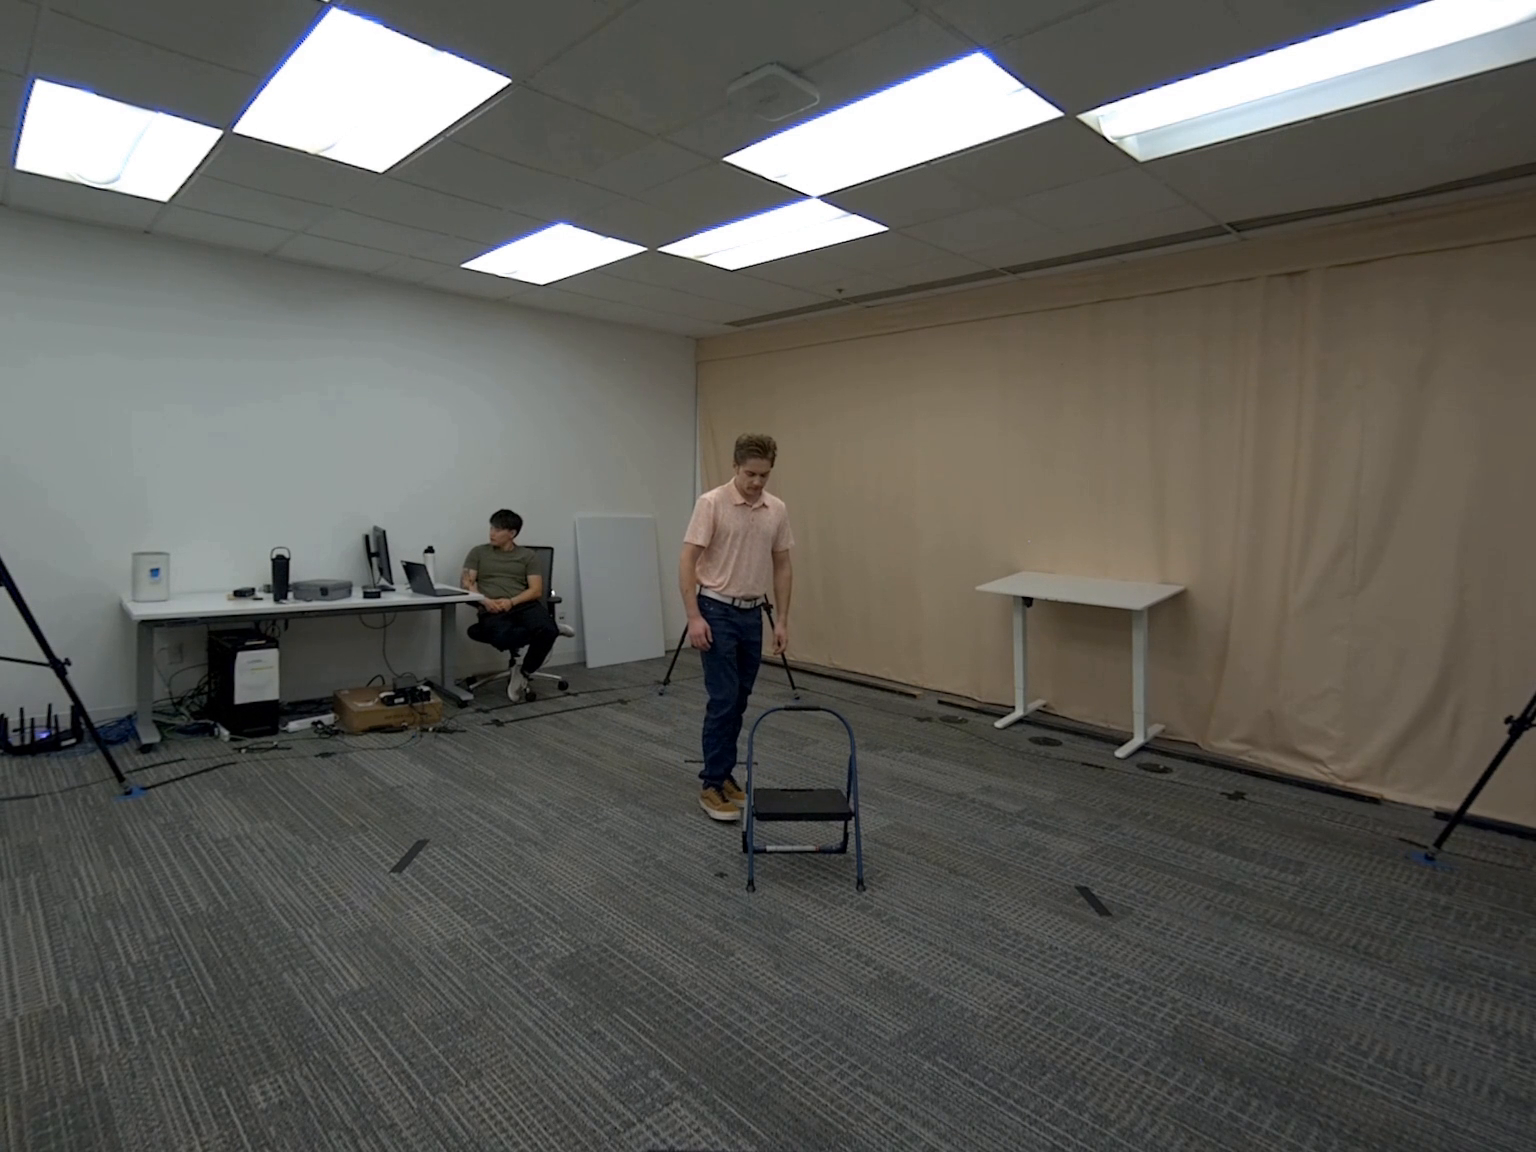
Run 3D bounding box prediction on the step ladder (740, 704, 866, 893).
[{"bbox_3d":[0.123,0.805,3.149,0.429,0.604,0.352,2,3,-6],"label":"step ladder"}]
